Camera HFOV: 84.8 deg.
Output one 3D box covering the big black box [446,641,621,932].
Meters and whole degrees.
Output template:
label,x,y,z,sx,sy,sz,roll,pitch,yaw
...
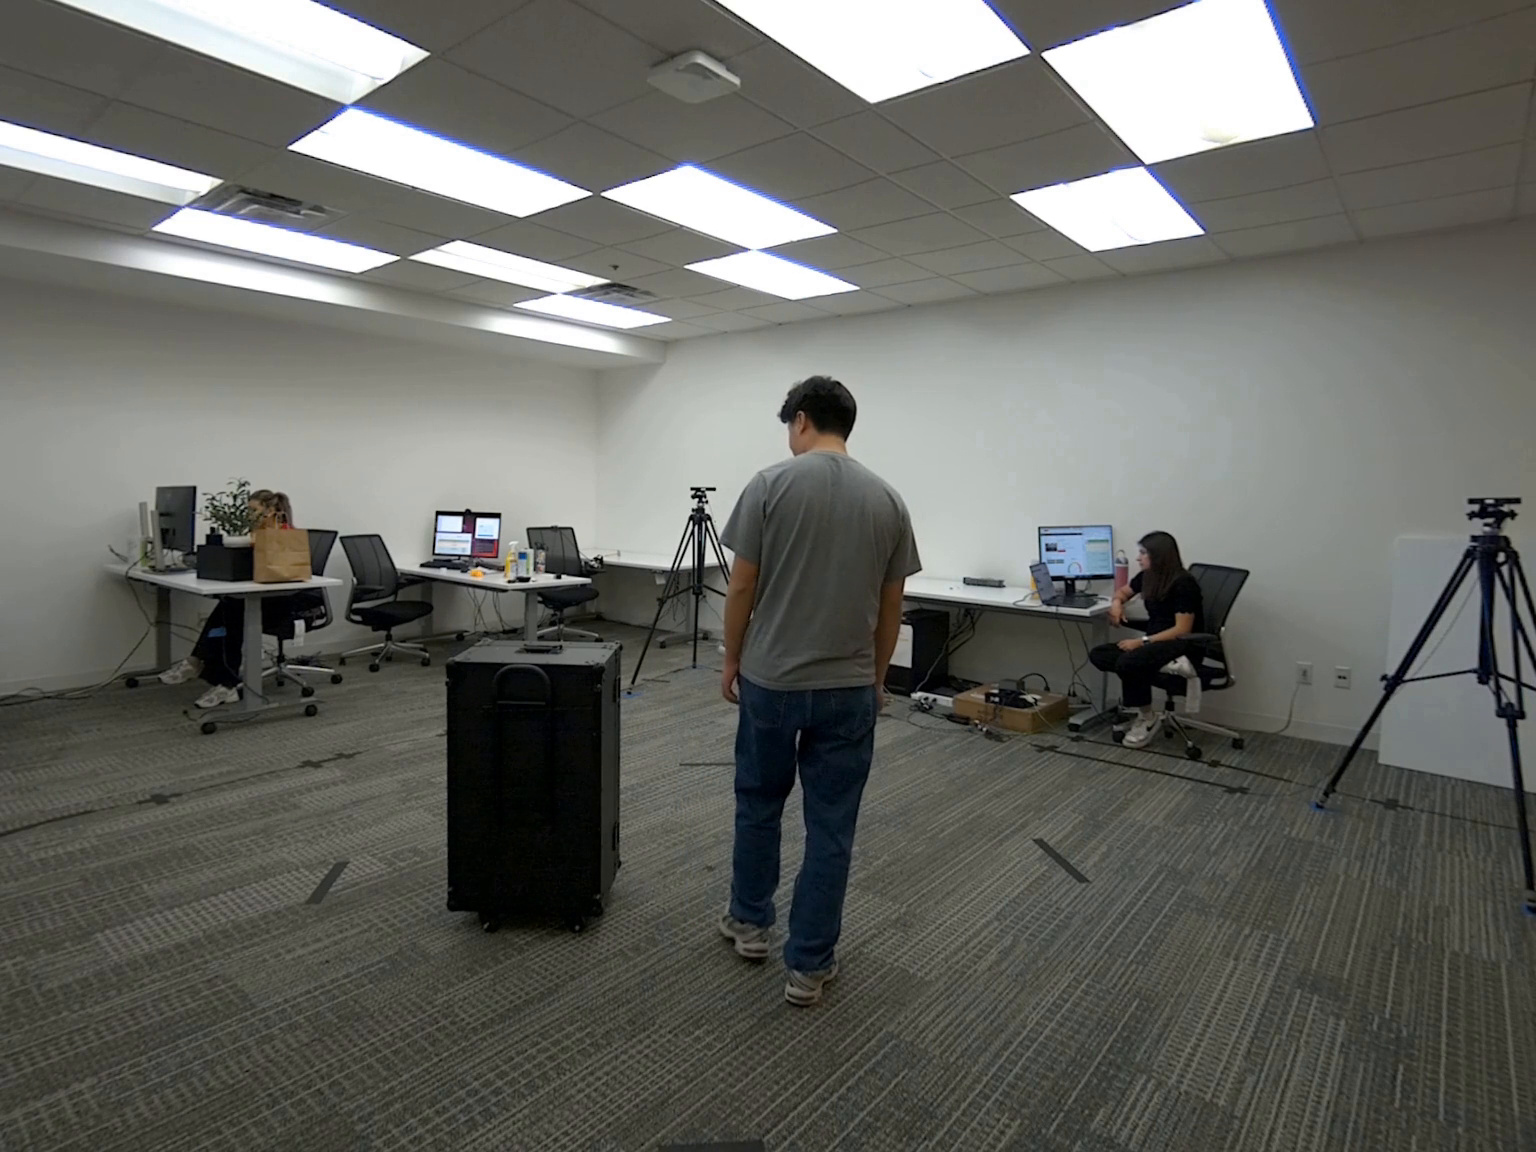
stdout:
label,x,y,z,sx,sy,sz,roll,pitch,yaw
big black box,-0.754,0.666,2.755,0.523,0.858,0.397,1,4,2
